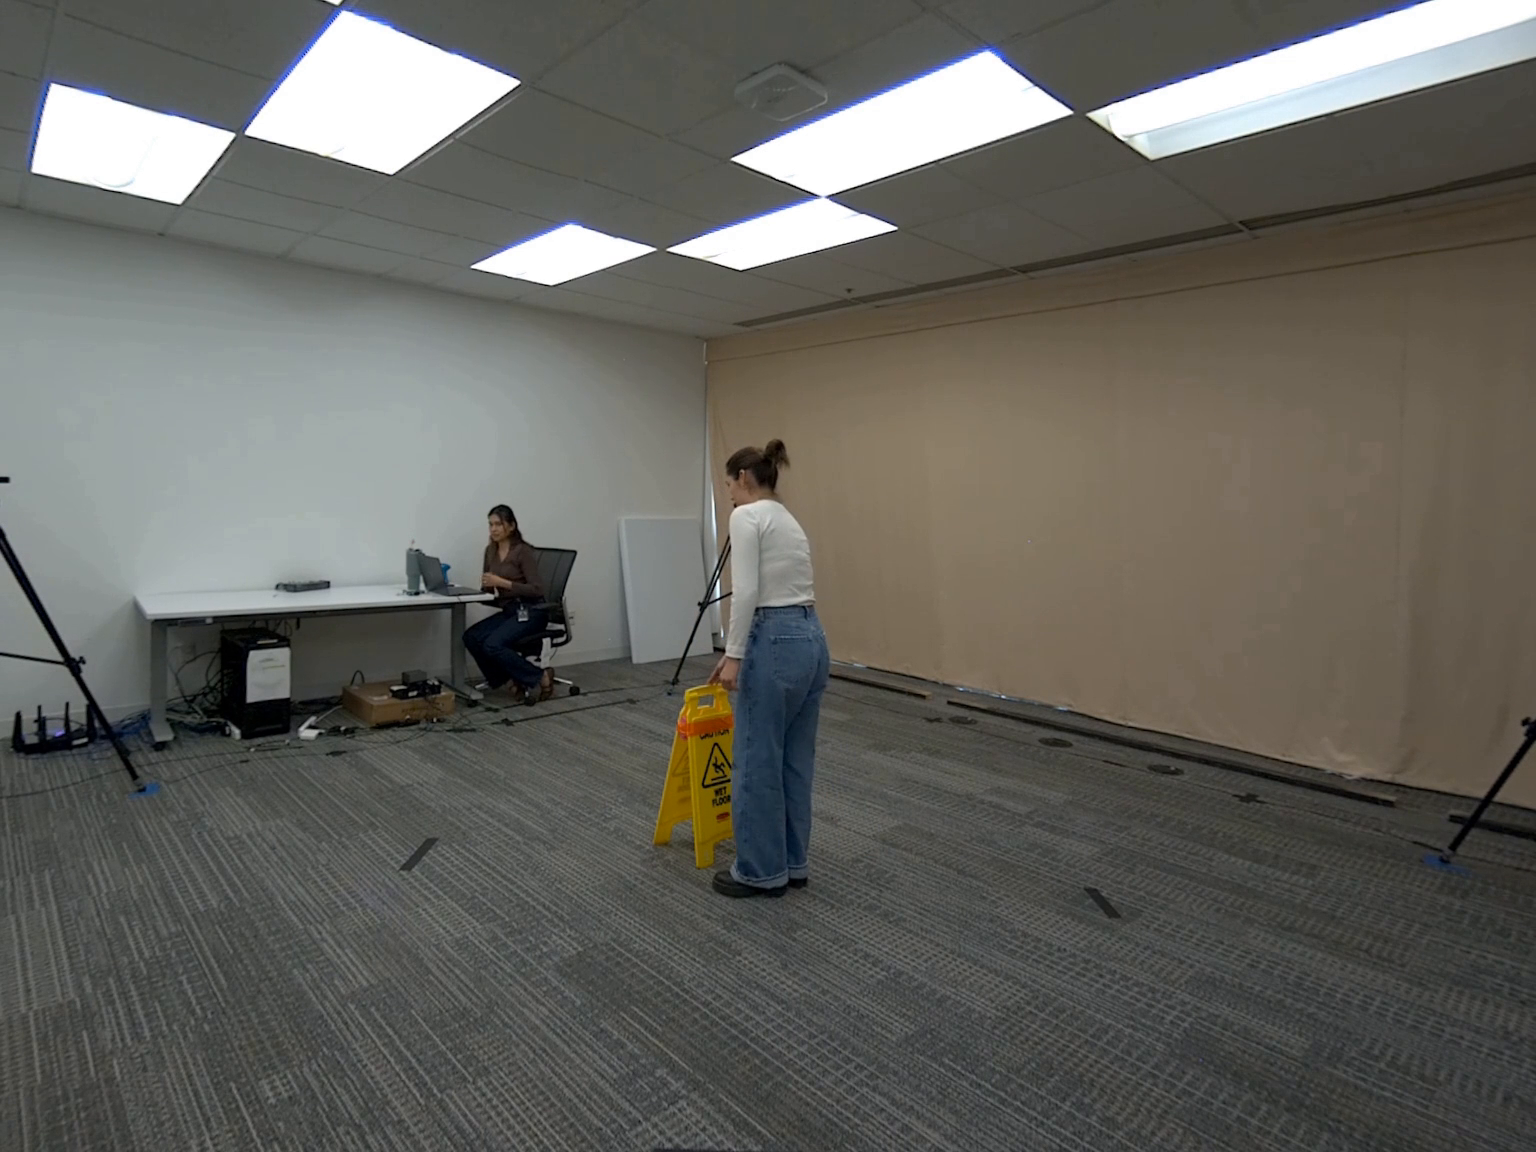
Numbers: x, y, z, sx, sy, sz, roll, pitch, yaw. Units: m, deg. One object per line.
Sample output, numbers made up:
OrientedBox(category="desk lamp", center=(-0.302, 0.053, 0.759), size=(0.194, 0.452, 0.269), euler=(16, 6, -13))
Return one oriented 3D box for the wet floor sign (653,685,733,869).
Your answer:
OrientedBox(category="wet floor sign", center=(-0.261, 0.755, 3.324), size=(0.276, 0.645, 0.297), euler=(-1, 4, -43))
